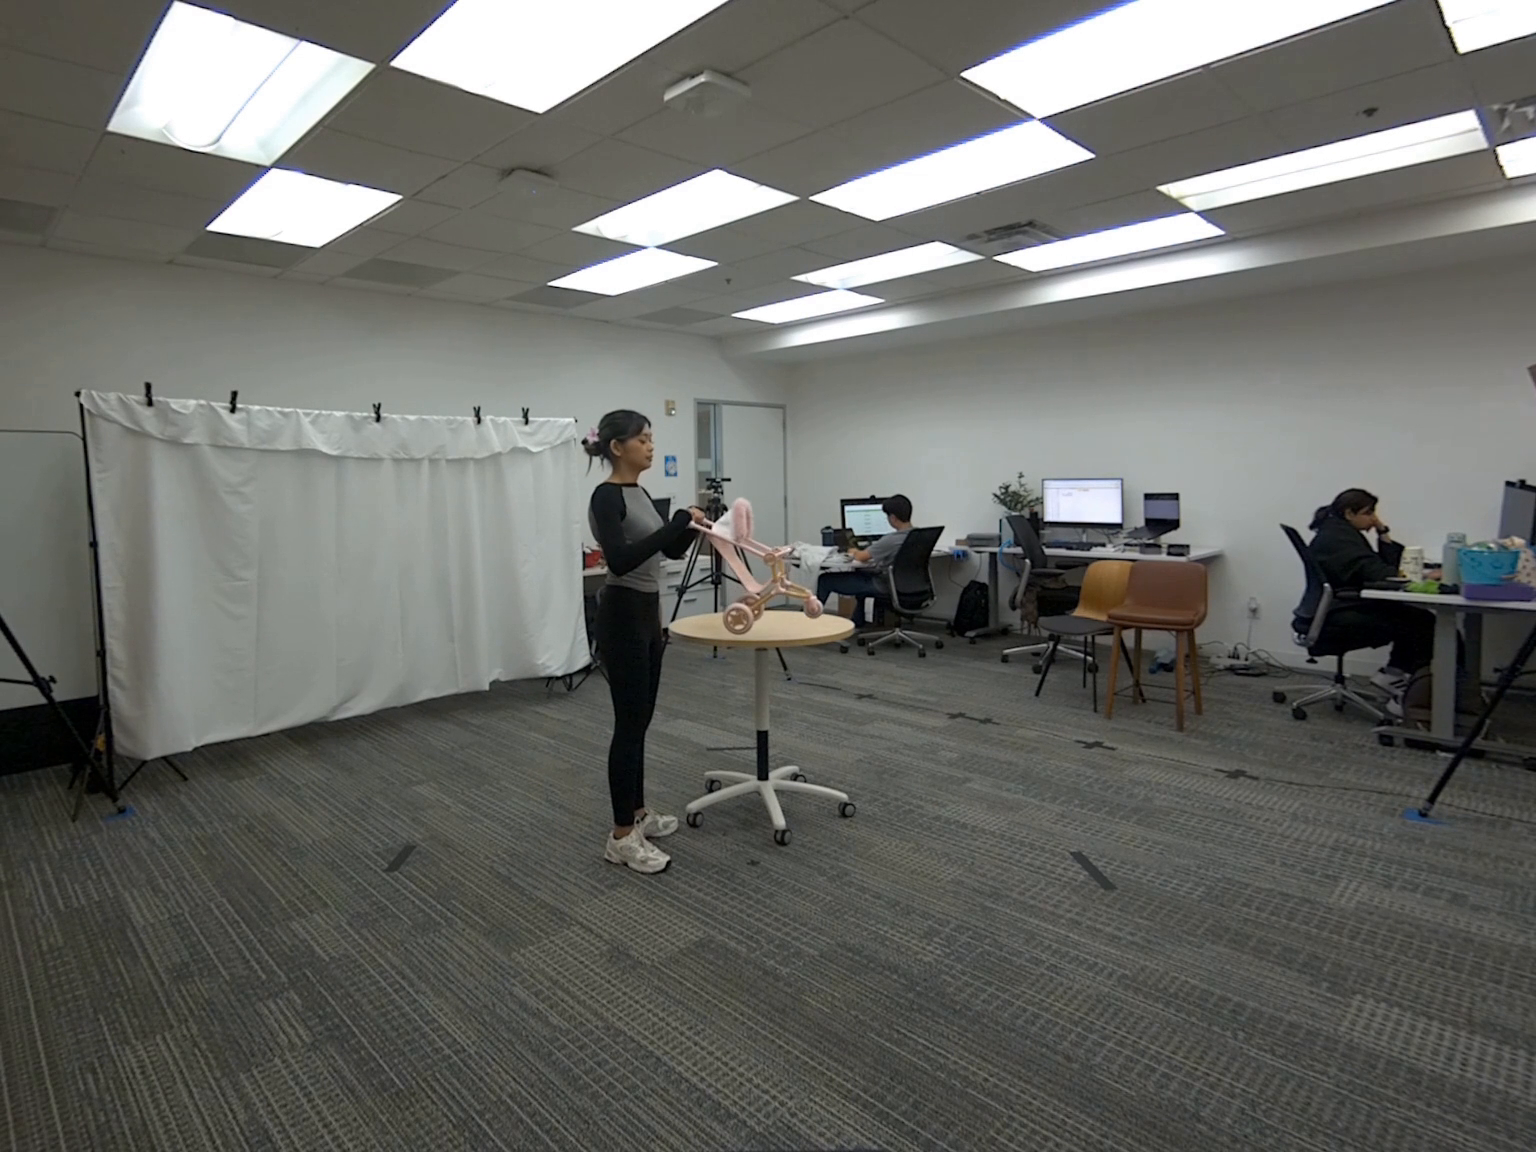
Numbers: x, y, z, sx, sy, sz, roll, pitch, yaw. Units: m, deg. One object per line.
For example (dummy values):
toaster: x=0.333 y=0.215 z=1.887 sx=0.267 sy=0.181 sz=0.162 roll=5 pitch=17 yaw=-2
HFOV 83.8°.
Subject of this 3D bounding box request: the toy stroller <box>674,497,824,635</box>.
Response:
toy stroller: x=-0.050 y=-0.043 z=3.064 sx=0.344 sy=0.536 sz=0.278 roll=-23 pitch=-1 yaw=16
